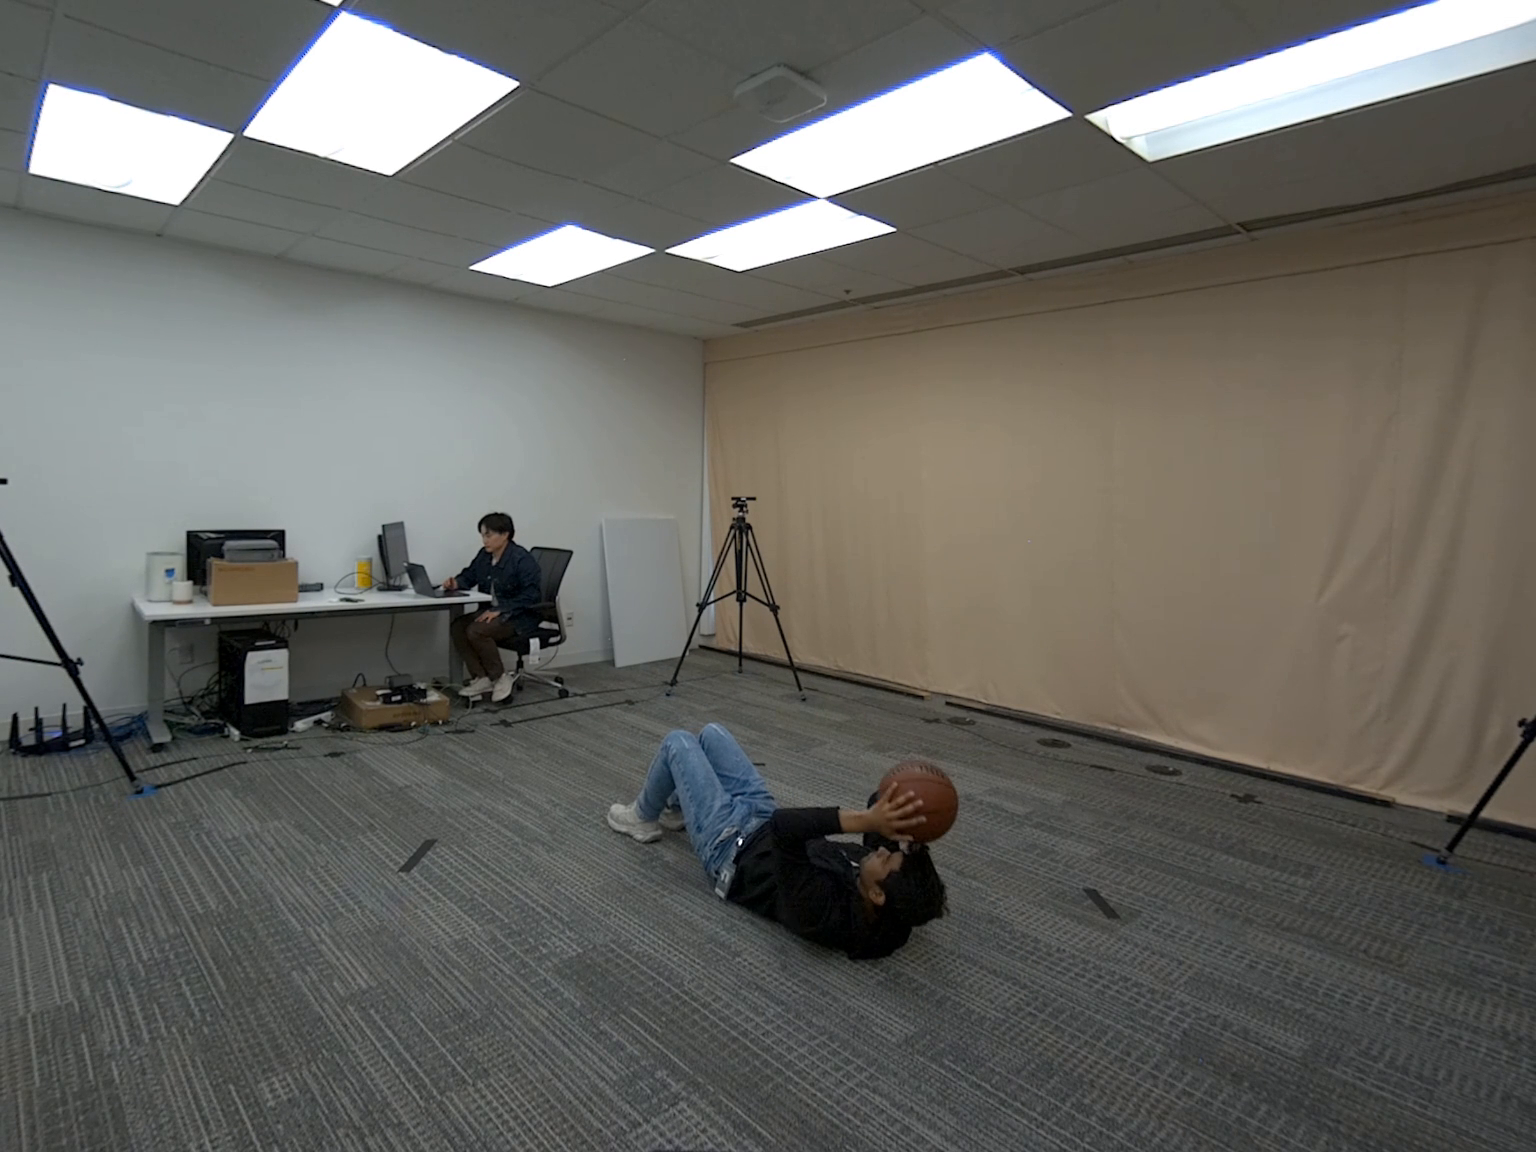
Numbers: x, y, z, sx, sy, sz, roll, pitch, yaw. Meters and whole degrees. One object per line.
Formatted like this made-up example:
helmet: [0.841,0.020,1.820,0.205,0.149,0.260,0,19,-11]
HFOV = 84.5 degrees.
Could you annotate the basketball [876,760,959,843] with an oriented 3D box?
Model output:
basketball: [0.439,0.683,2.530,0.236,0.235,0.237,1,4,-1]
